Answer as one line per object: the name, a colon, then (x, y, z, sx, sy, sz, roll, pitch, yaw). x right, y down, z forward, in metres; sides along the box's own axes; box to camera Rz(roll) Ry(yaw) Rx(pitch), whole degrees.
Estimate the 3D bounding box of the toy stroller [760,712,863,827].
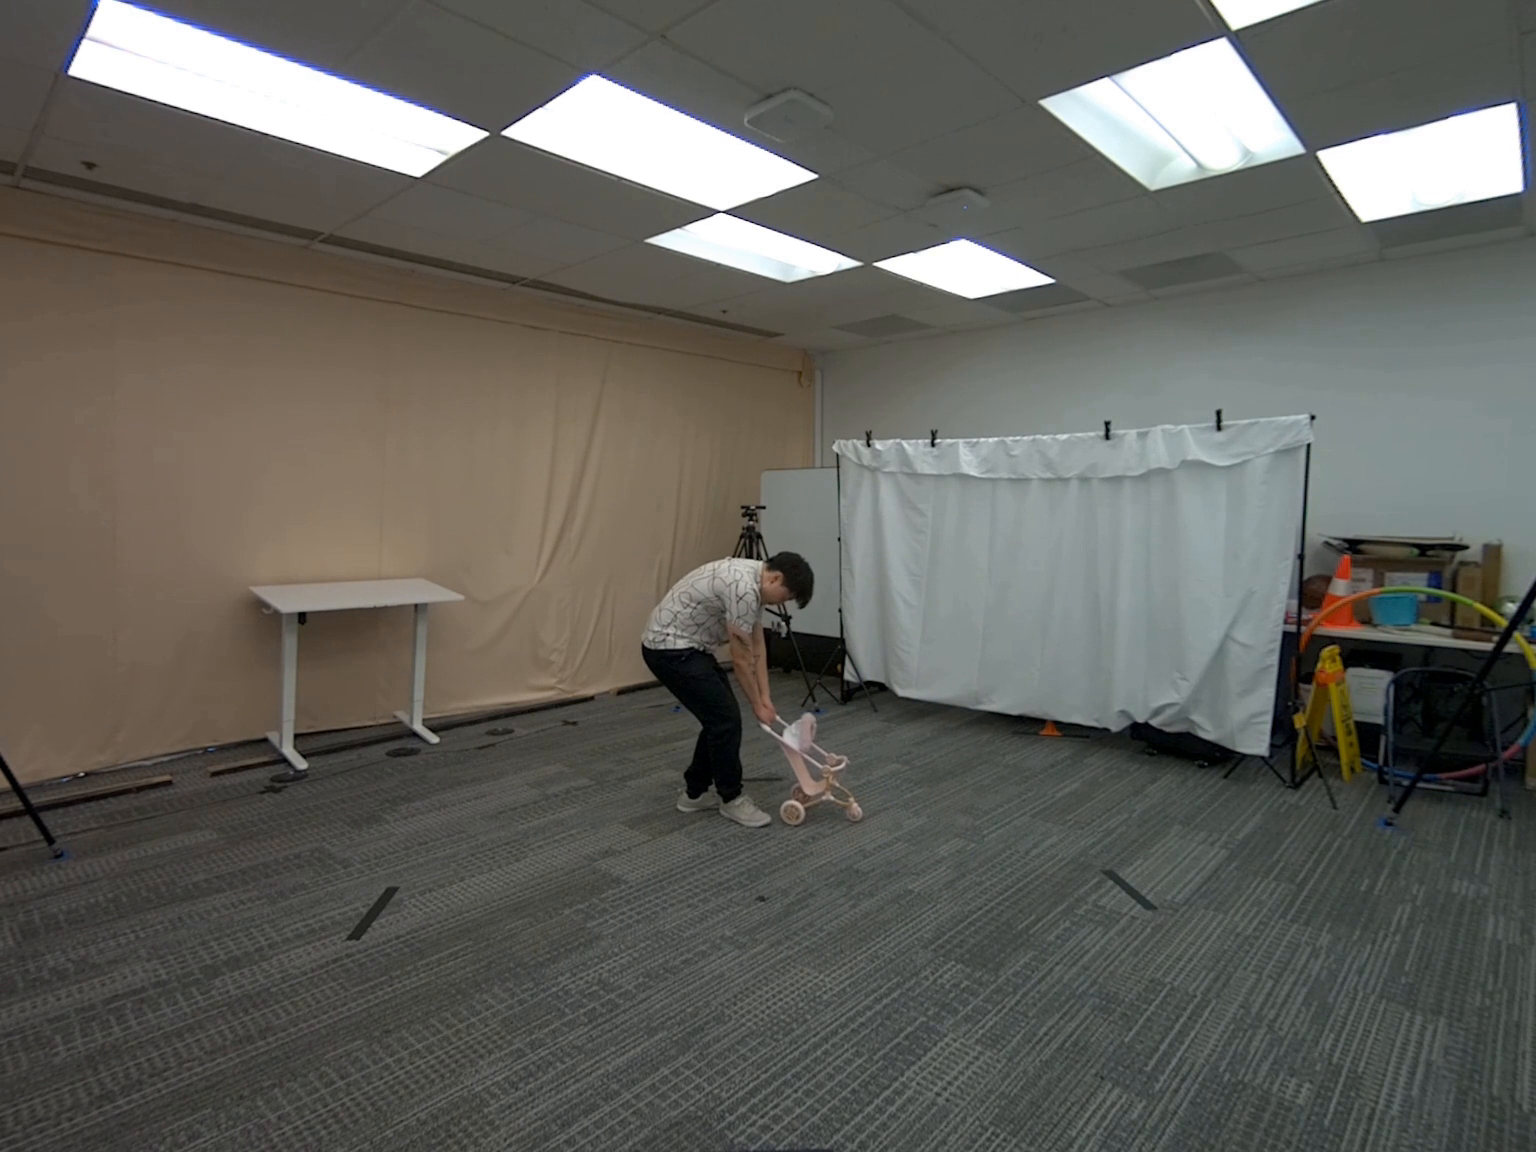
toy stroller: (0.199, 0.855, 3.759, 0.347, 0.536, 0.276, -15, -2, 19)
